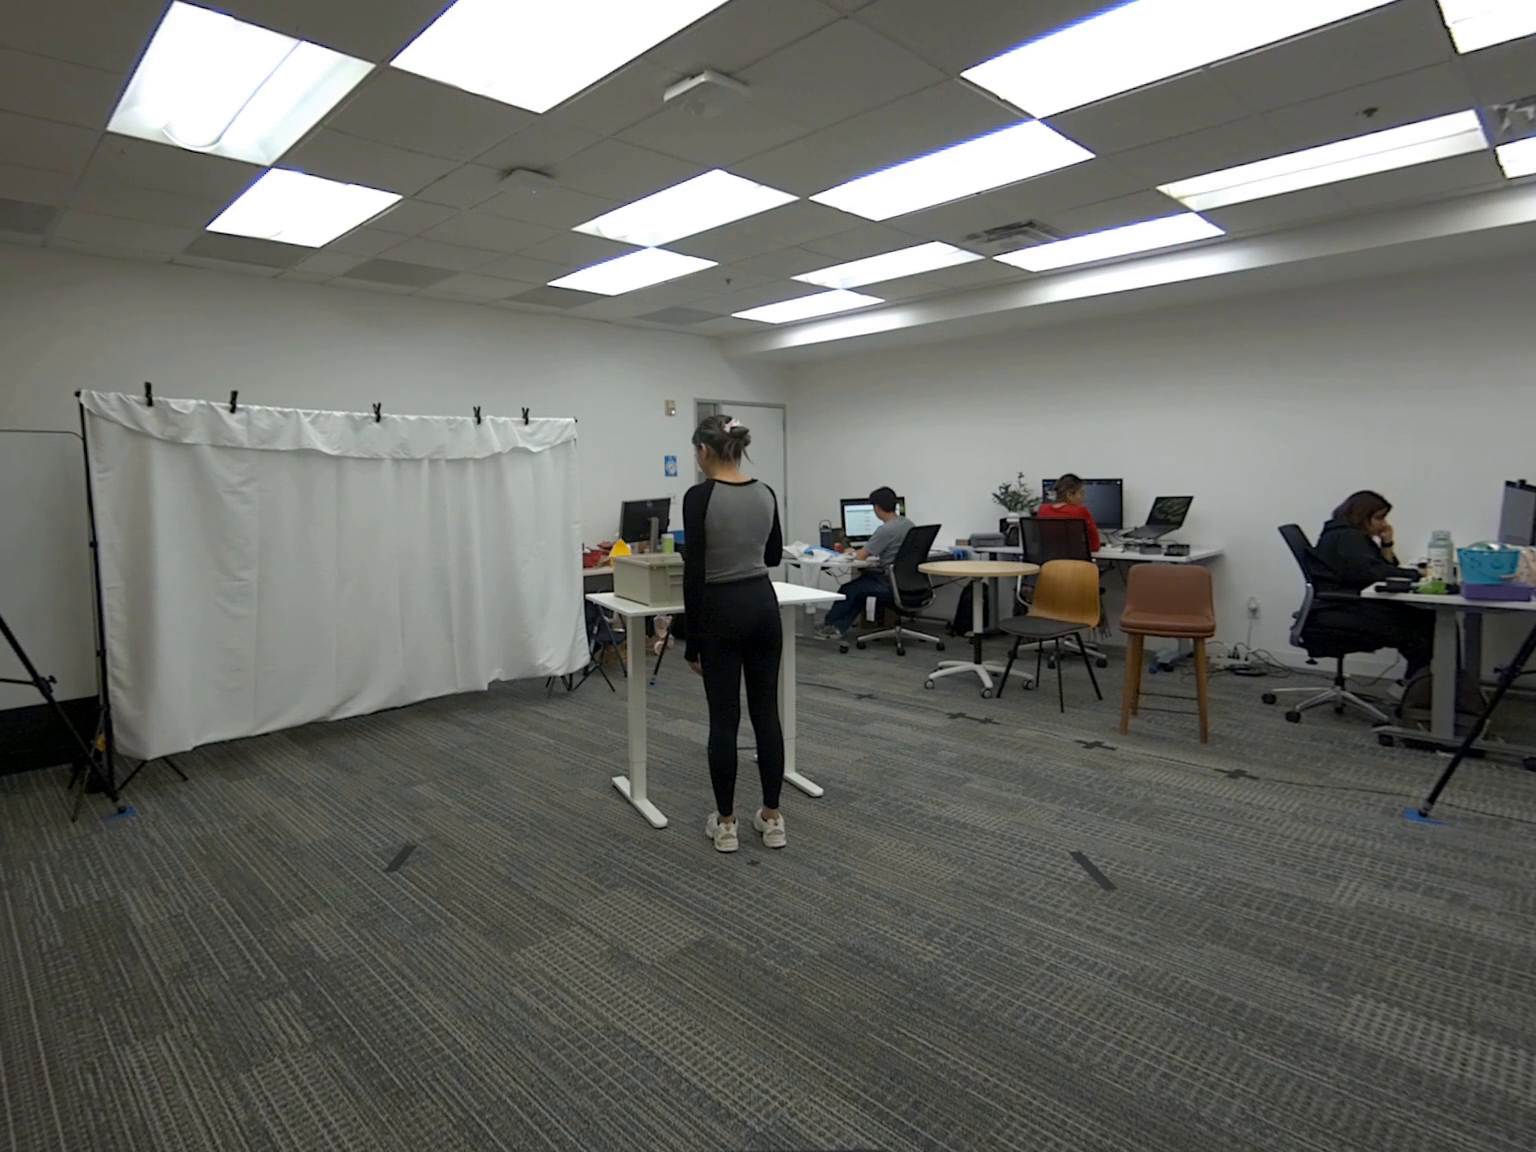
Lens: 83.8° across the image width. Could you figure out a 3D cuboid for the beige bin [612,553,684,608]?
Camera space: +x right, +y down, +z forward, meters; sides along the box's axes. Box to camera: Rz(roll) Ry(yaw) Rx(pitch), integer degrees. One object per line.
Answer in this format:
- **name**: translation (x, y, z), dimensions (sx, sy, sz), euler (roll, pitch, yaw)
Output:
- **beige bin**: translation (-0.425, 0.012, 3.685), dimensions (0.369, 0.188, 0.434), euler (-6, 8, -30)
